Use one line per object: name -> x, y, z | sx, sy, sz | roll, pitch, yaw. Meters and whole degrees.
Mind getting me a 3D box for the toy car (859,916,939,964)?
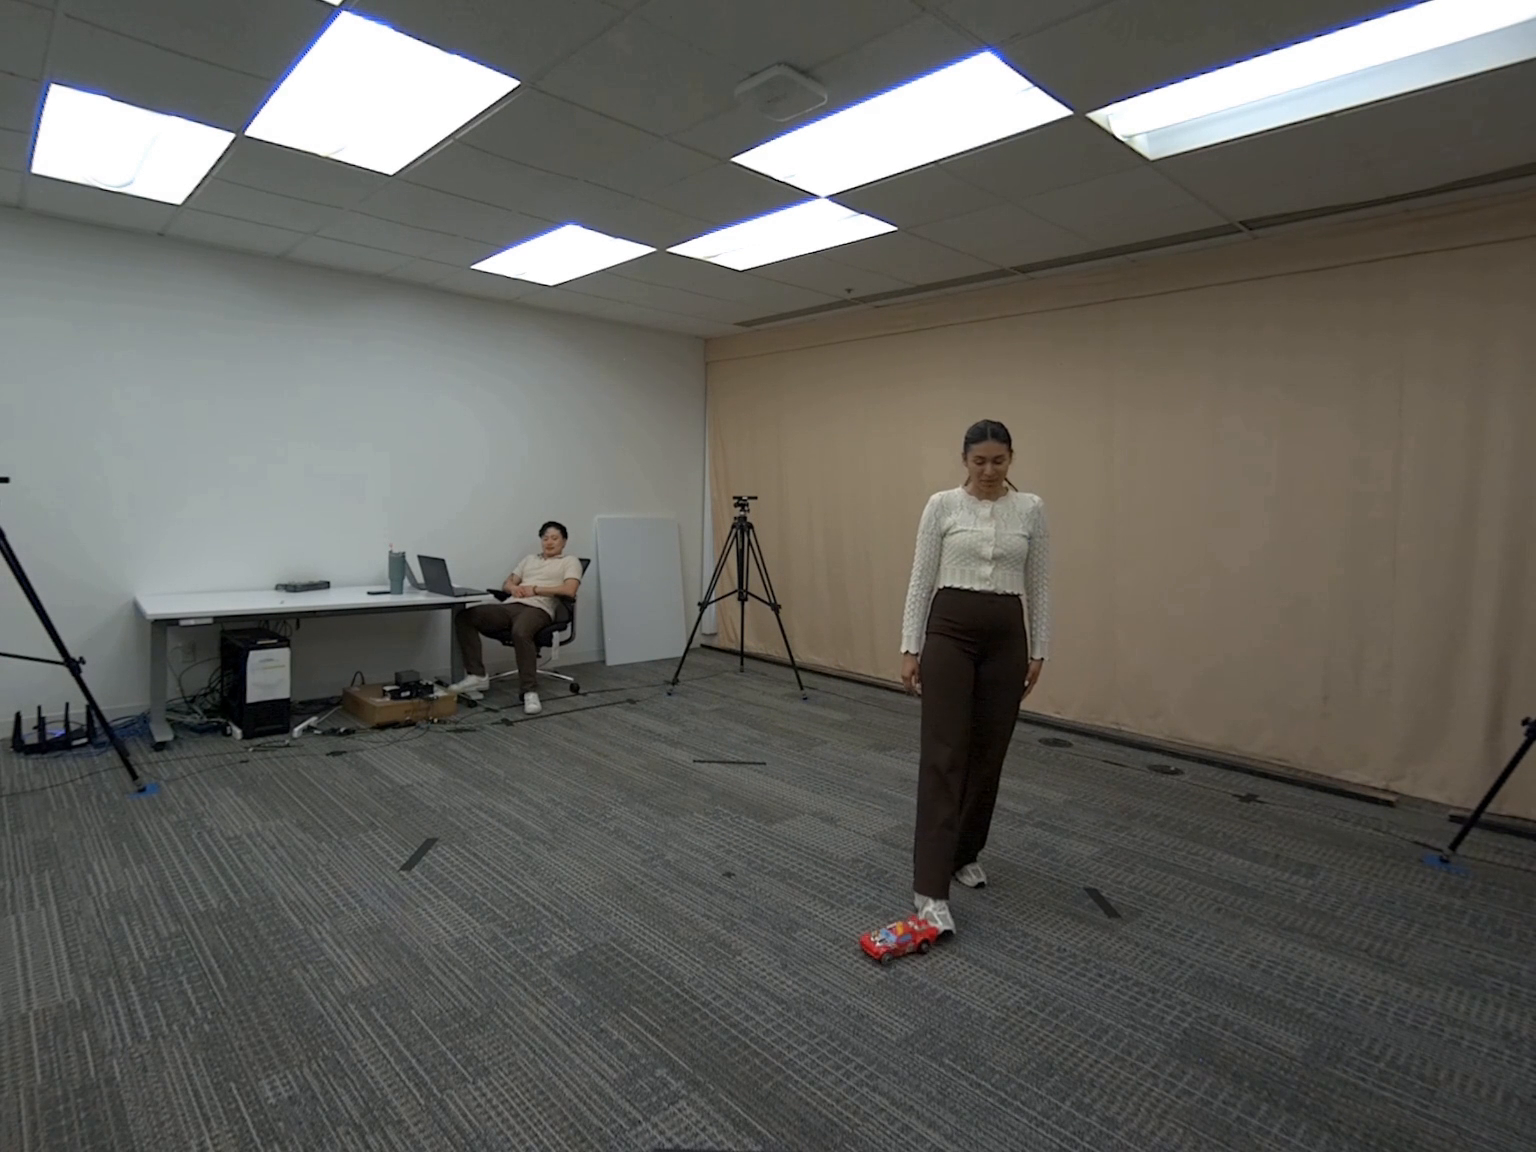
toy car -> 0.408, 1.129, 2.613 | 0.251, 0.082, 0.133 | -14, 12, -27
